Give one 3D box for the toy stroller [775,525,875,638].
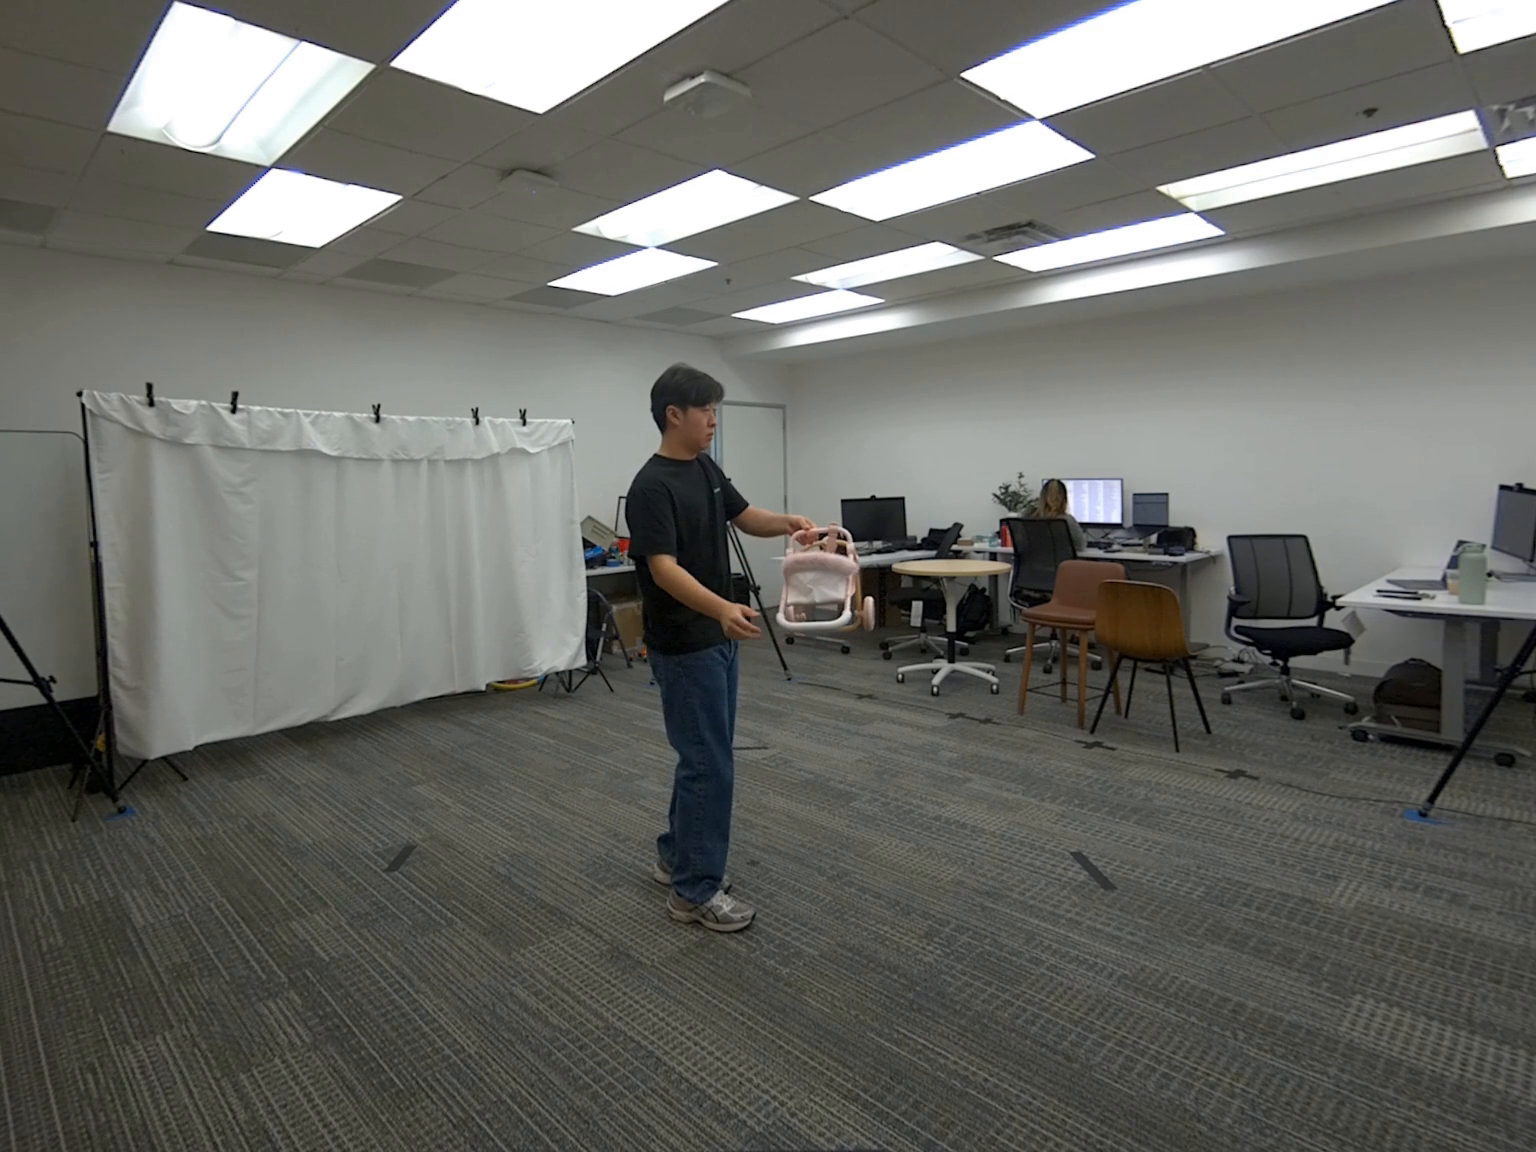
[{"bbox_3d":[0.164,0.008,2.614,0.285,0.344,0.524,1,-8,13],"label":"toy stroller"}]
